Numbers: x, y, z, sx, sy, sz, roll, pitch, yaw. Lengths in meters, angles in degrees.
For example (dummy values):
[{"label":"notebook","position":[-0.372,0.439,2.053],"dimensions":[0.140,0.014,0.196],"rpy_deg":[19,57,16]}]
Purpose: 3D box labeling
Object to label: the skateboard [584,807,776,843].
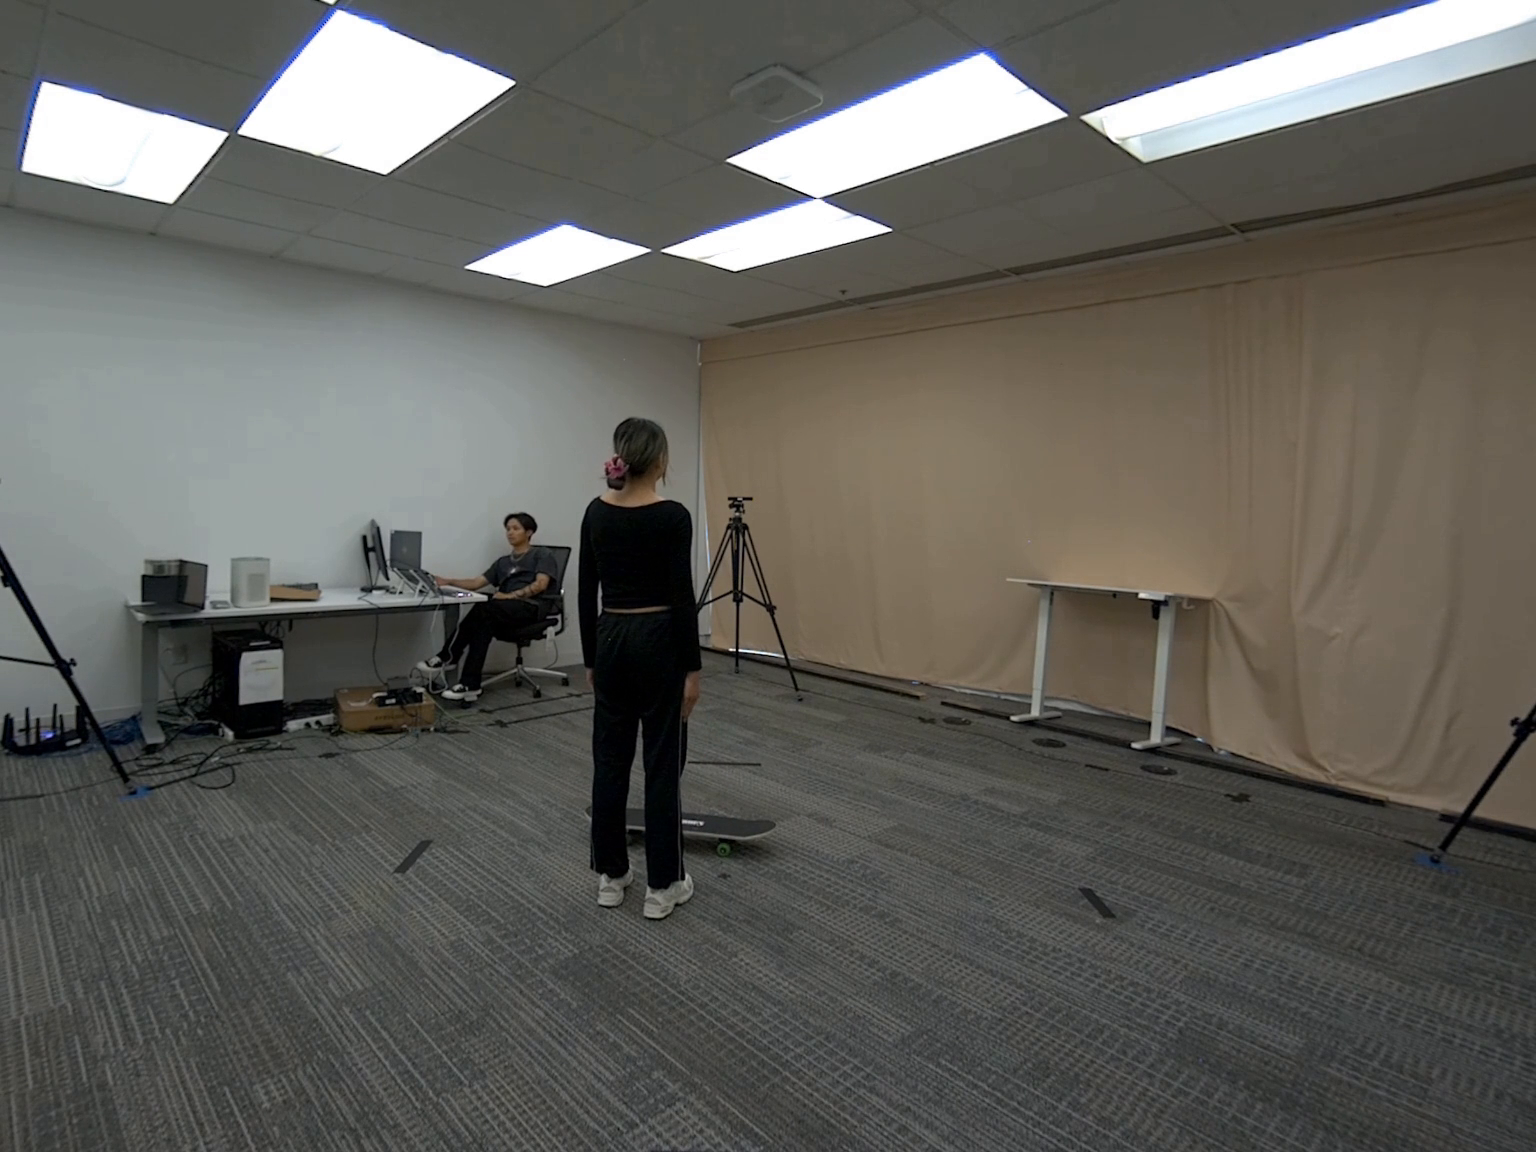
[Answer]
[{"label":"skateboard","position":[-0.360,1.017,3.389],"dimensions":[0.793,0.110,0.192],"rpy_deg":[2,4,11]}]
